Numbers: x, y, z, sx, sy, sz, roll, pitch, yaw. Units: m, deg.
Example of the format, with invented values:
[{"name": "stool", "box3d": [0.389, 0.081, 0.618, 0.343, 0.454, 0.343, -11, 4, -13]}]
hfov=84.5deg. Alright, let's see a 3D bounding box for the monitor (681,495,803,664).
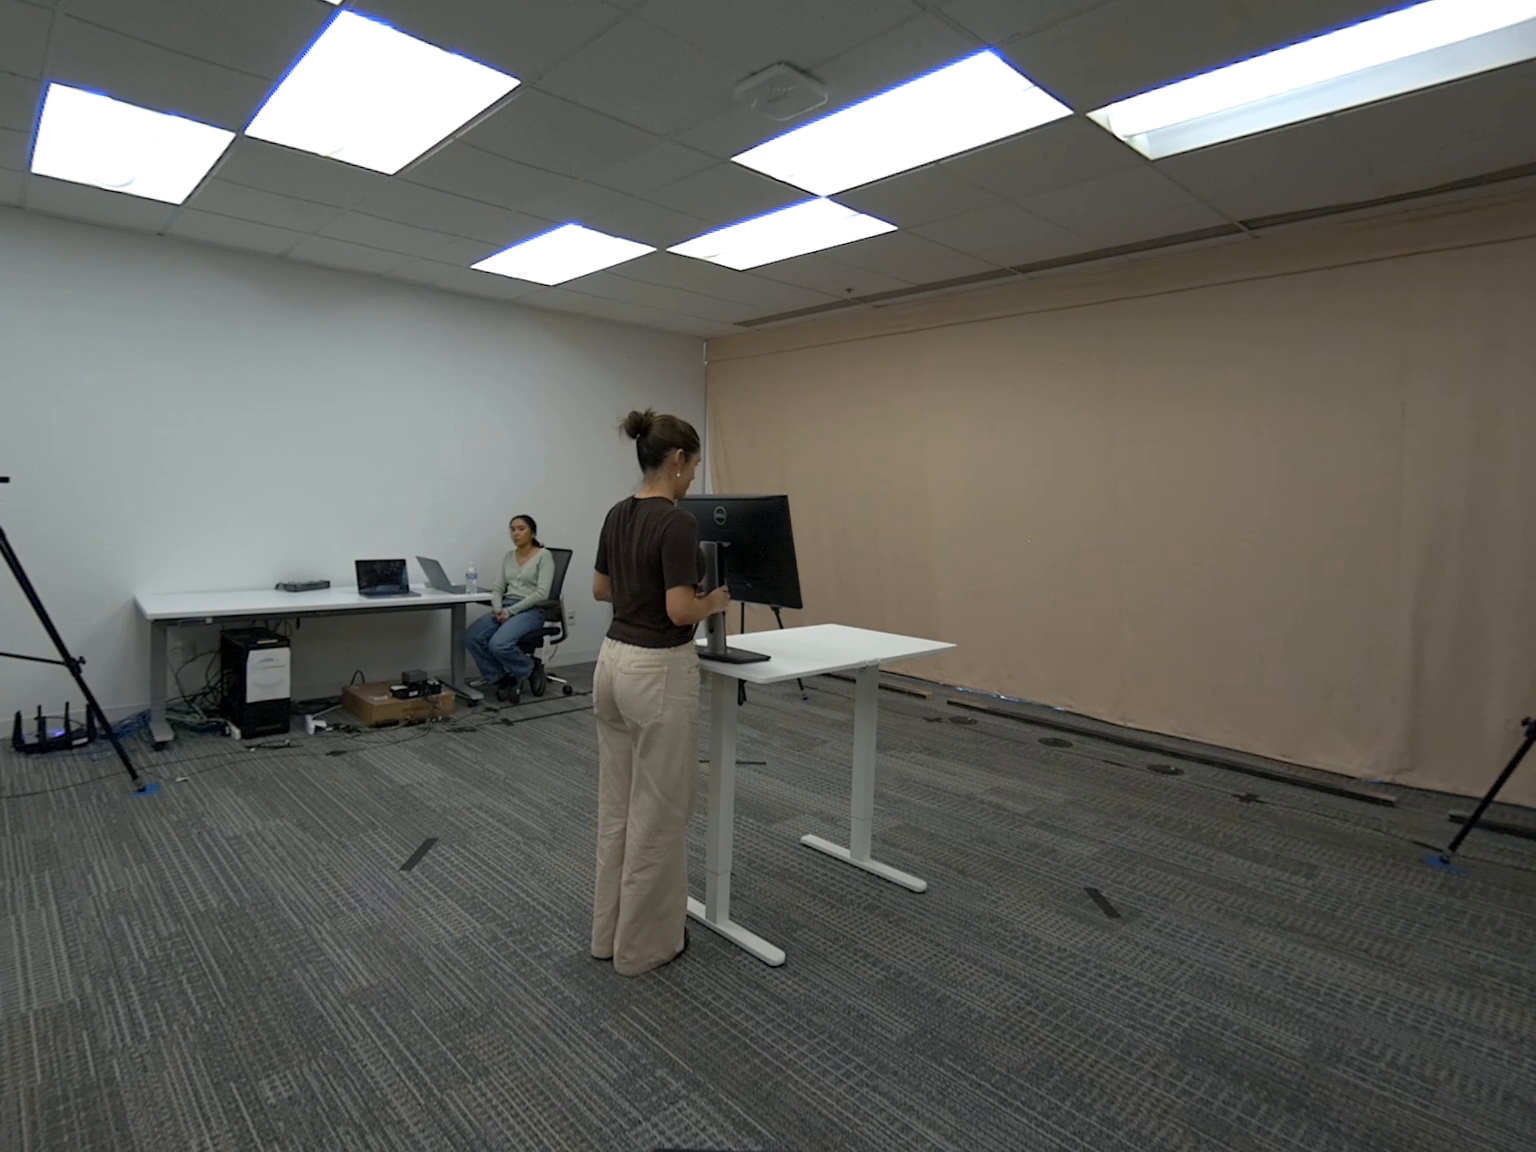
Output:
[{"name": "monitor", "box3d": [-0.132, 0.001, 2.669, 0.543, 0.516, 0.170, 3, 0, 44]}]
